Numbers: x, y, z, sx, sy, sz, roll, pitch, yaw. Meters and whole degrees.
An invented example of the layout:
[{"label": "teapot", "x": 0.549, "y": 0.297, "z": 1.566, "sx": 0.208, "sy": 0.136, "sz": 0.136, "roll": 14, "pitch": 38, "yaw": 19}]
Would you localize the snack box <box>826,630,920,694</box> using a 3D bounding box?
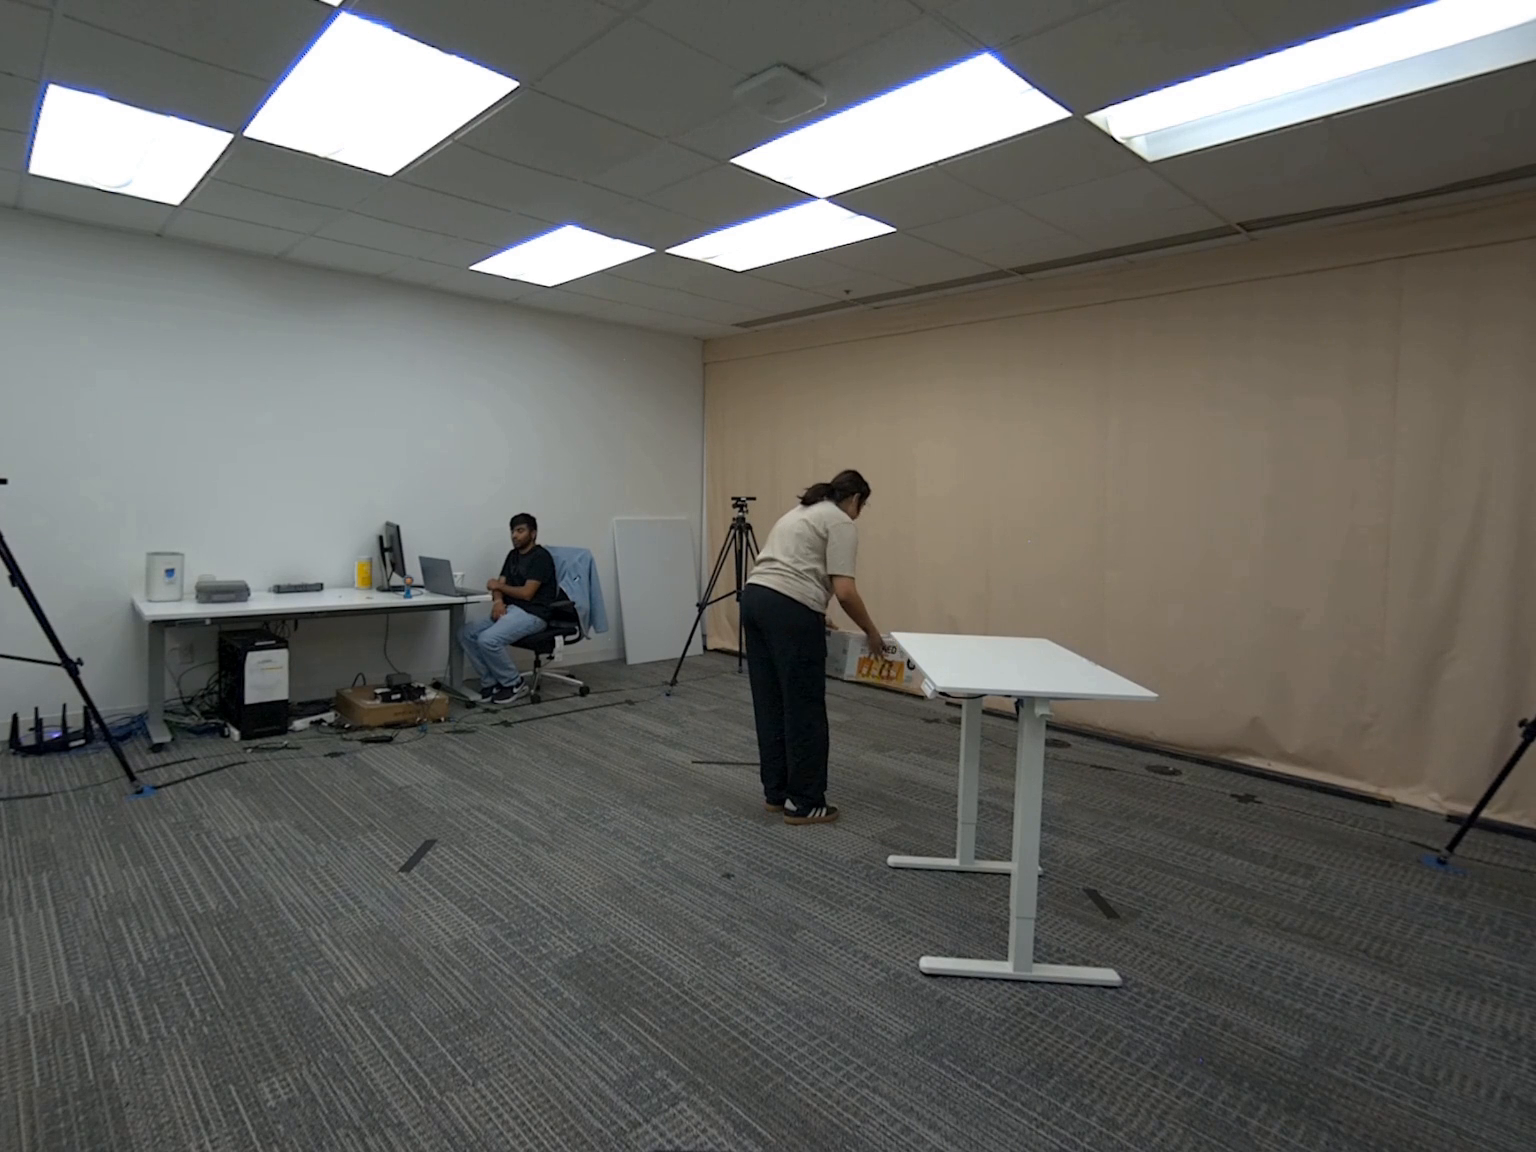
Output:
[{"label": "snack box", "x": 0.417, "y": 0.377, "z": 3.980, "sx": 0.395, "sy": 0.206, "sz": 0.348, "roll": 8, "pitch": -1, "yaw": -32}]
